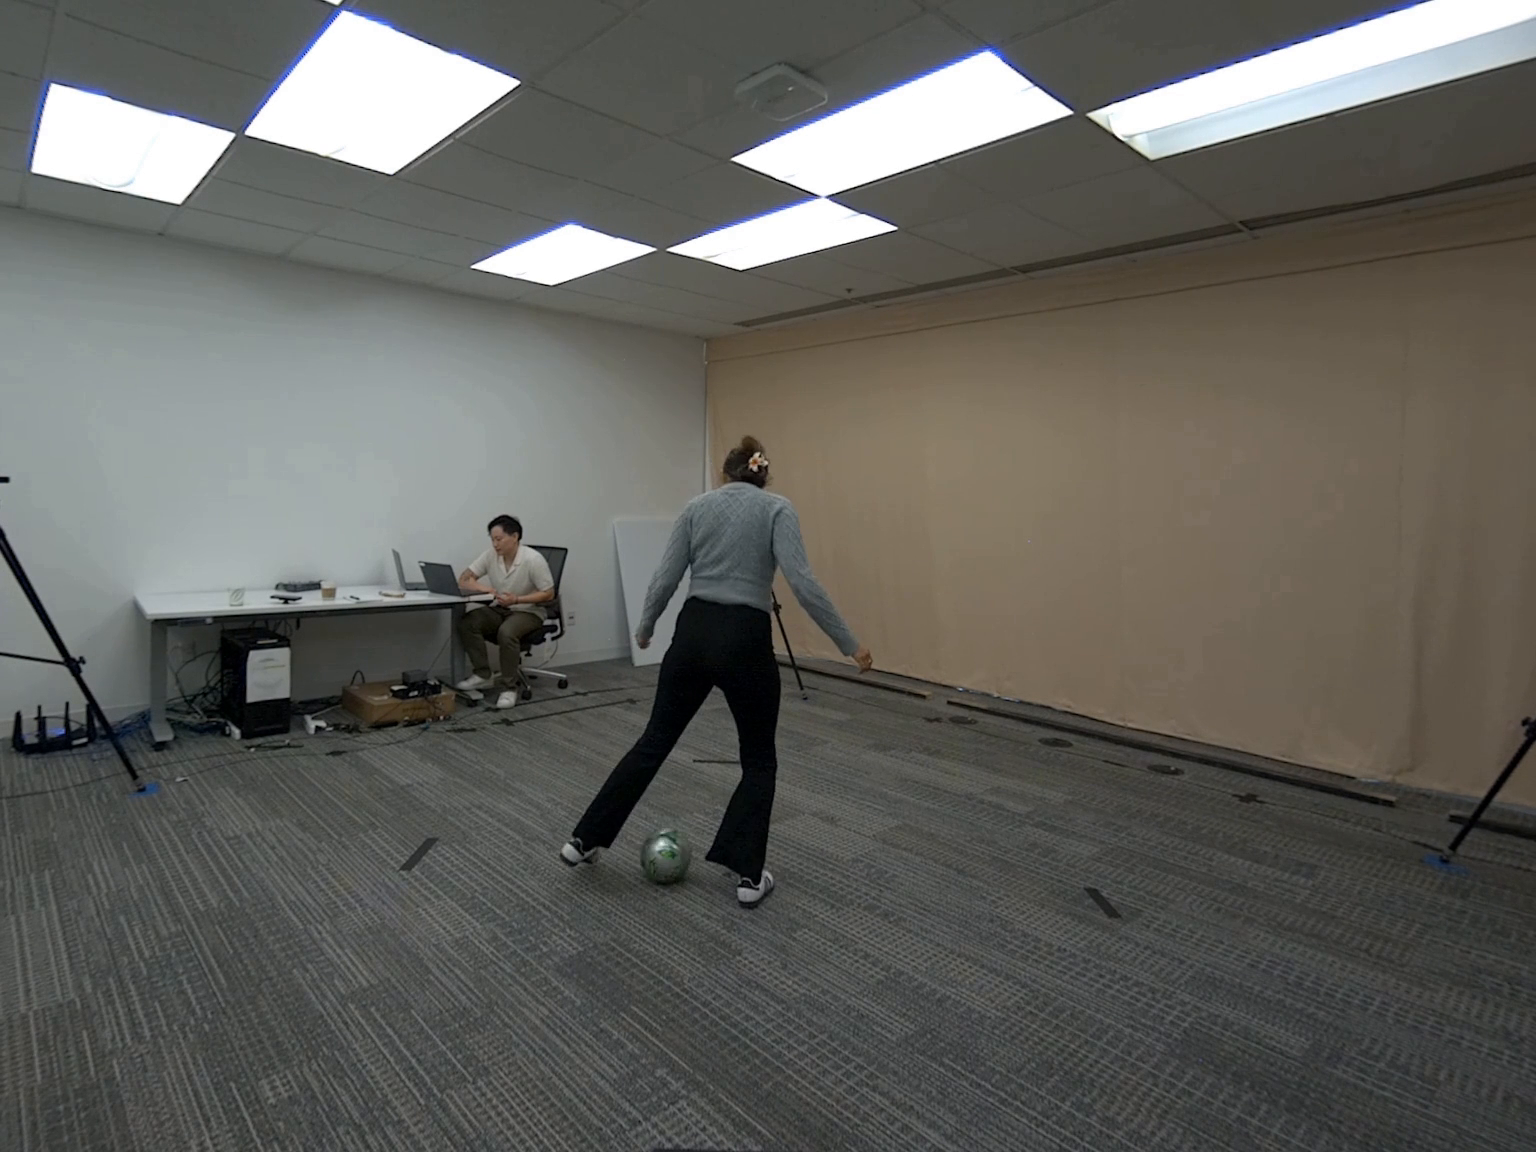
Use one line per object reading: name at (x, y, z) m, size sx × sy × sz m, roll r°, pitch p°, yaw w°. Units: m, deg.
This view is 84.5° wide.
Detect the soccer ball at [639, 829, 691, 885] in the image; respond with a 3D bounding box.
soccer ball at (-0.344, 1.015, 3.037) m, size 0.187 × 0.187 × 0.188 m, roll 1°, pitch 4°, yaw -1°
